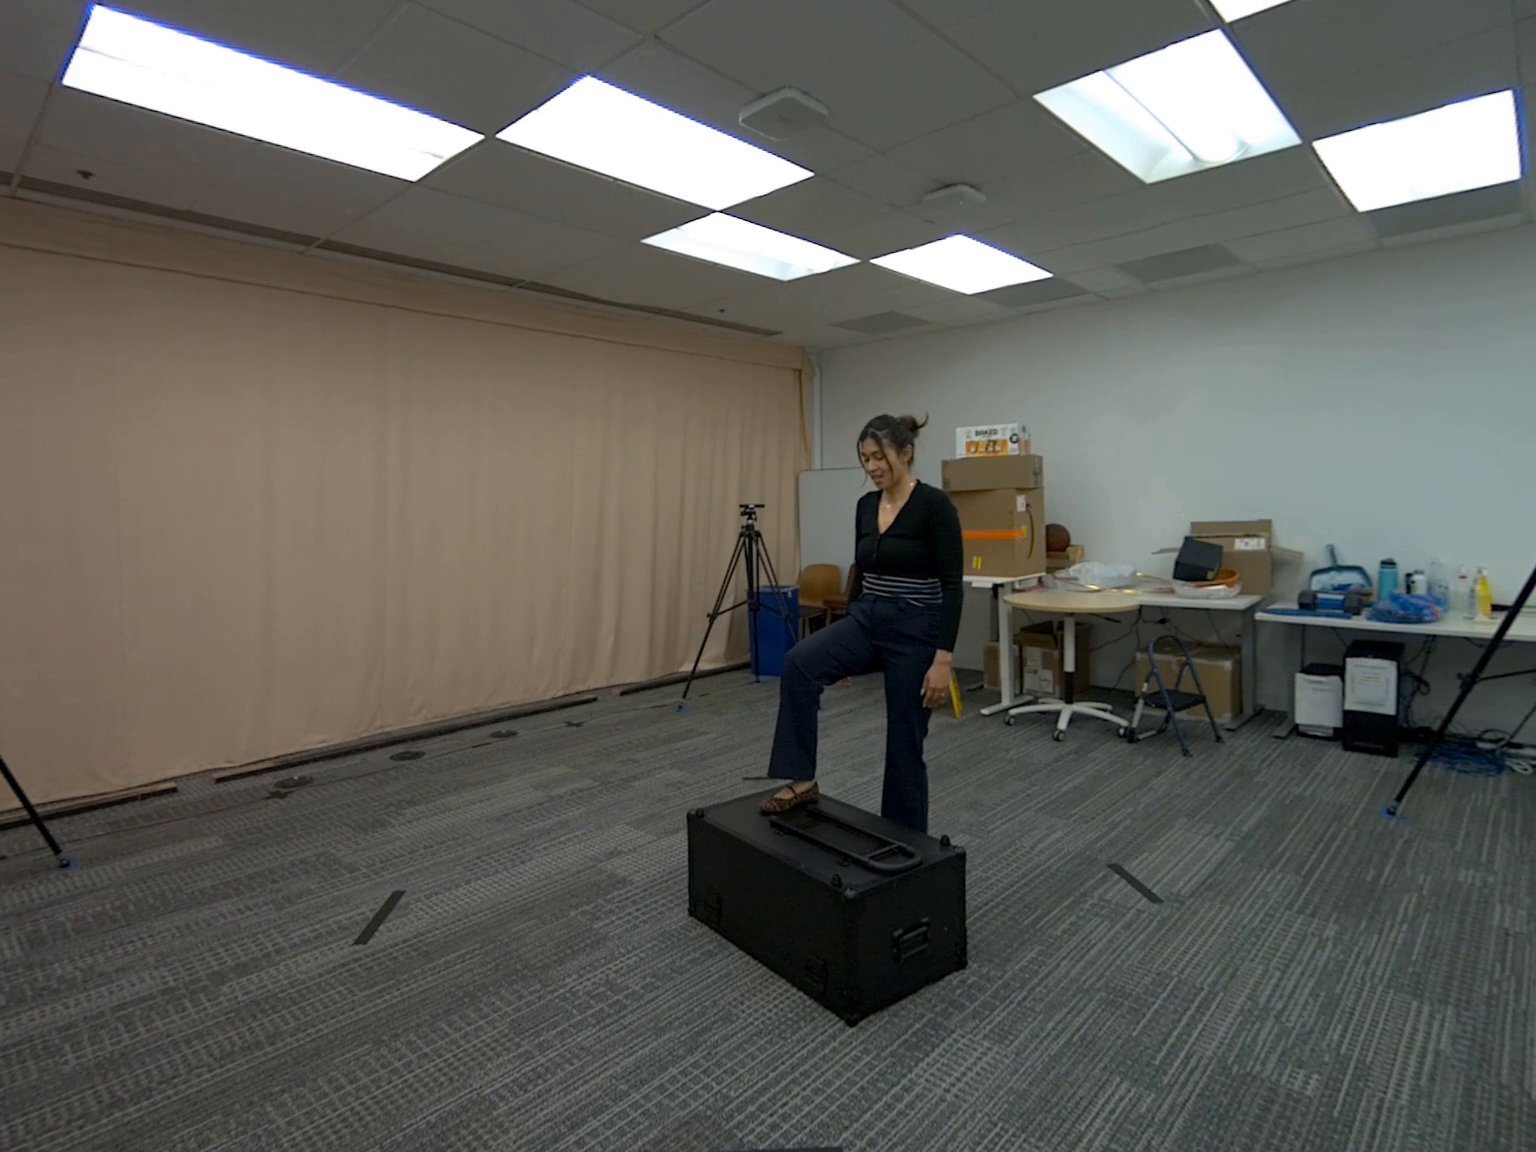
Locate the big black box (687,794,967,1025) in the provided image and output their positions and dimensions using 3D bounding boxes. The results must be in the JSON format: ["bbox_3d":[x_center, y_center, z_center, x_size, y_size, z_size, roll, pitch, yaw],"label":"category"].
[{"bbox_3d":[0.178,0.993,2.654,0.506,0.395,0.889,-4,5,-37],"label":"big black box"}]
